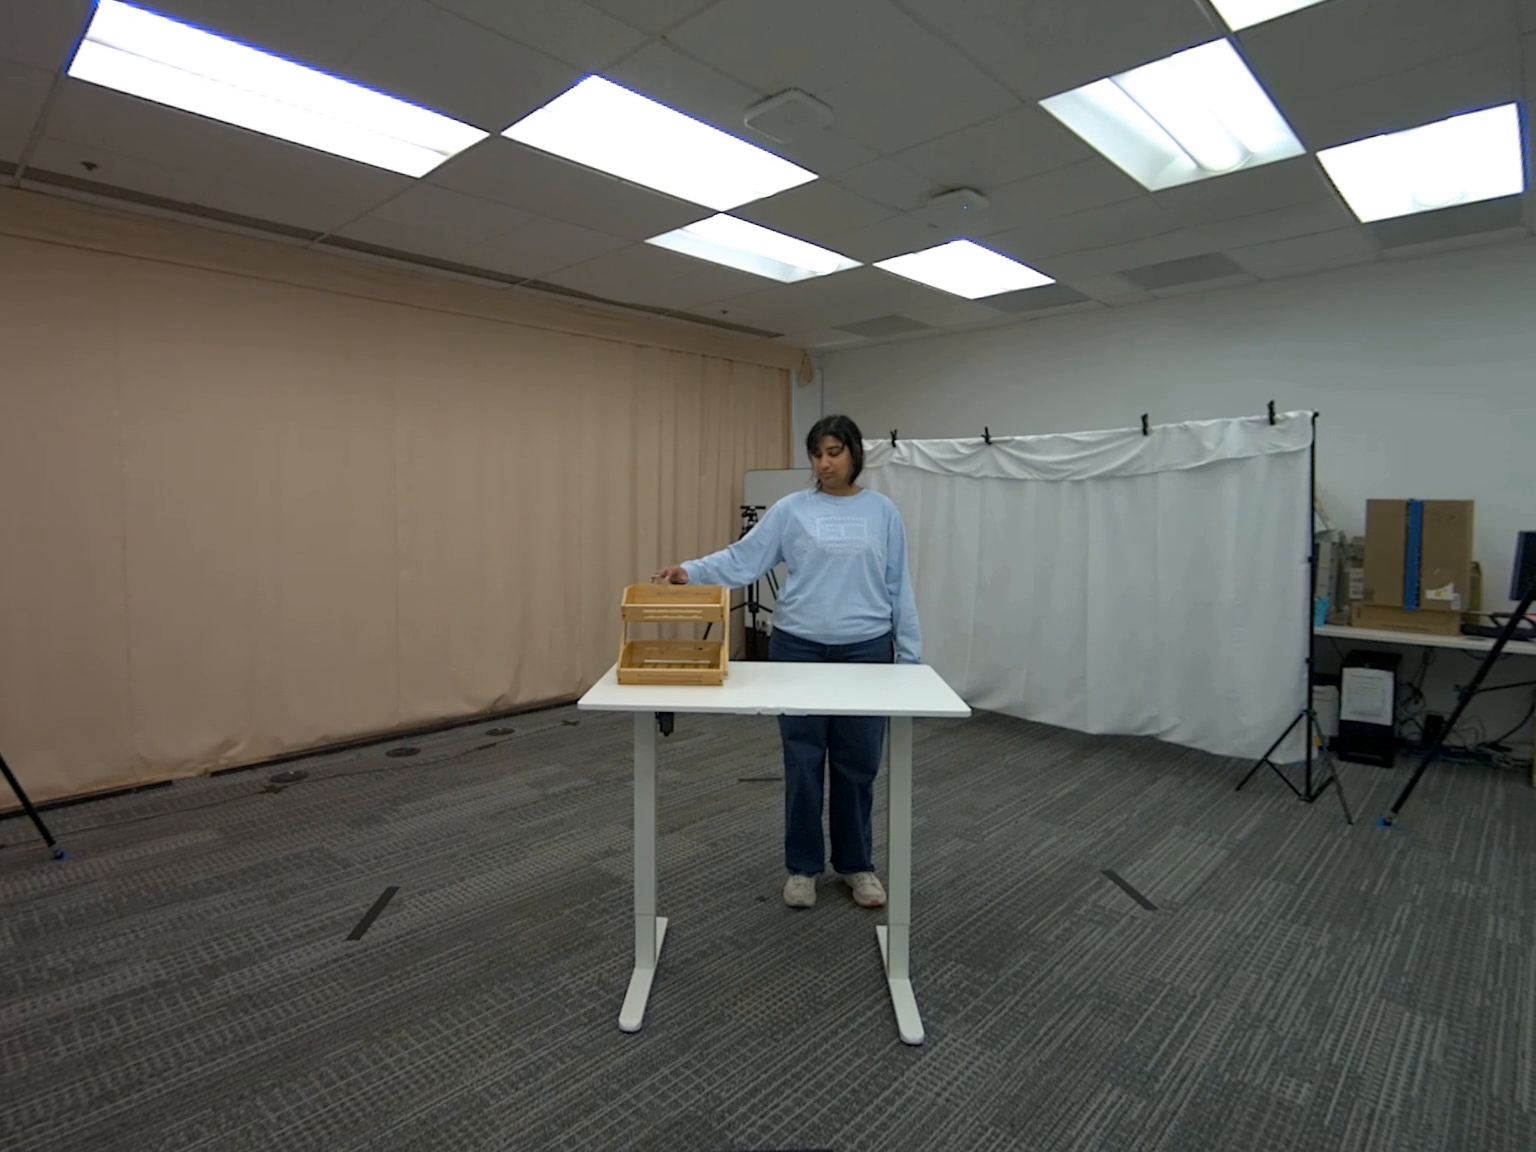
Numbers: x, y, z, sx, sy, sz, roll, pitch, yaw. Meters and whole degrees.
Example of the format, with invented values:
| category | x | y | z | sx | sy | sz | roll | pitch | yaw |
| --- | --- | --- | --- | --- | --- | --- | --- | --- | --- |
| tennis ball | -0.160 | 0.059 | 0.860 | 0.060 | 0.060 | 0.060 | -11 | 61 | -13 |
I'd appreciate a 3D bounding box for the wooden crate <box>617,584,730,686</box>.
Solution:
| category | x | y | z | sx | sy | sz | roll | pitch | yaw |
| --- | --- | --- | --- | --- | --- | --- | --- | --- | --- |
| wooden crate | -0.275 | 0.170 | 2.503 | 0.325 | 0.273 | 0.302 | 1 | 1 | 1 |
